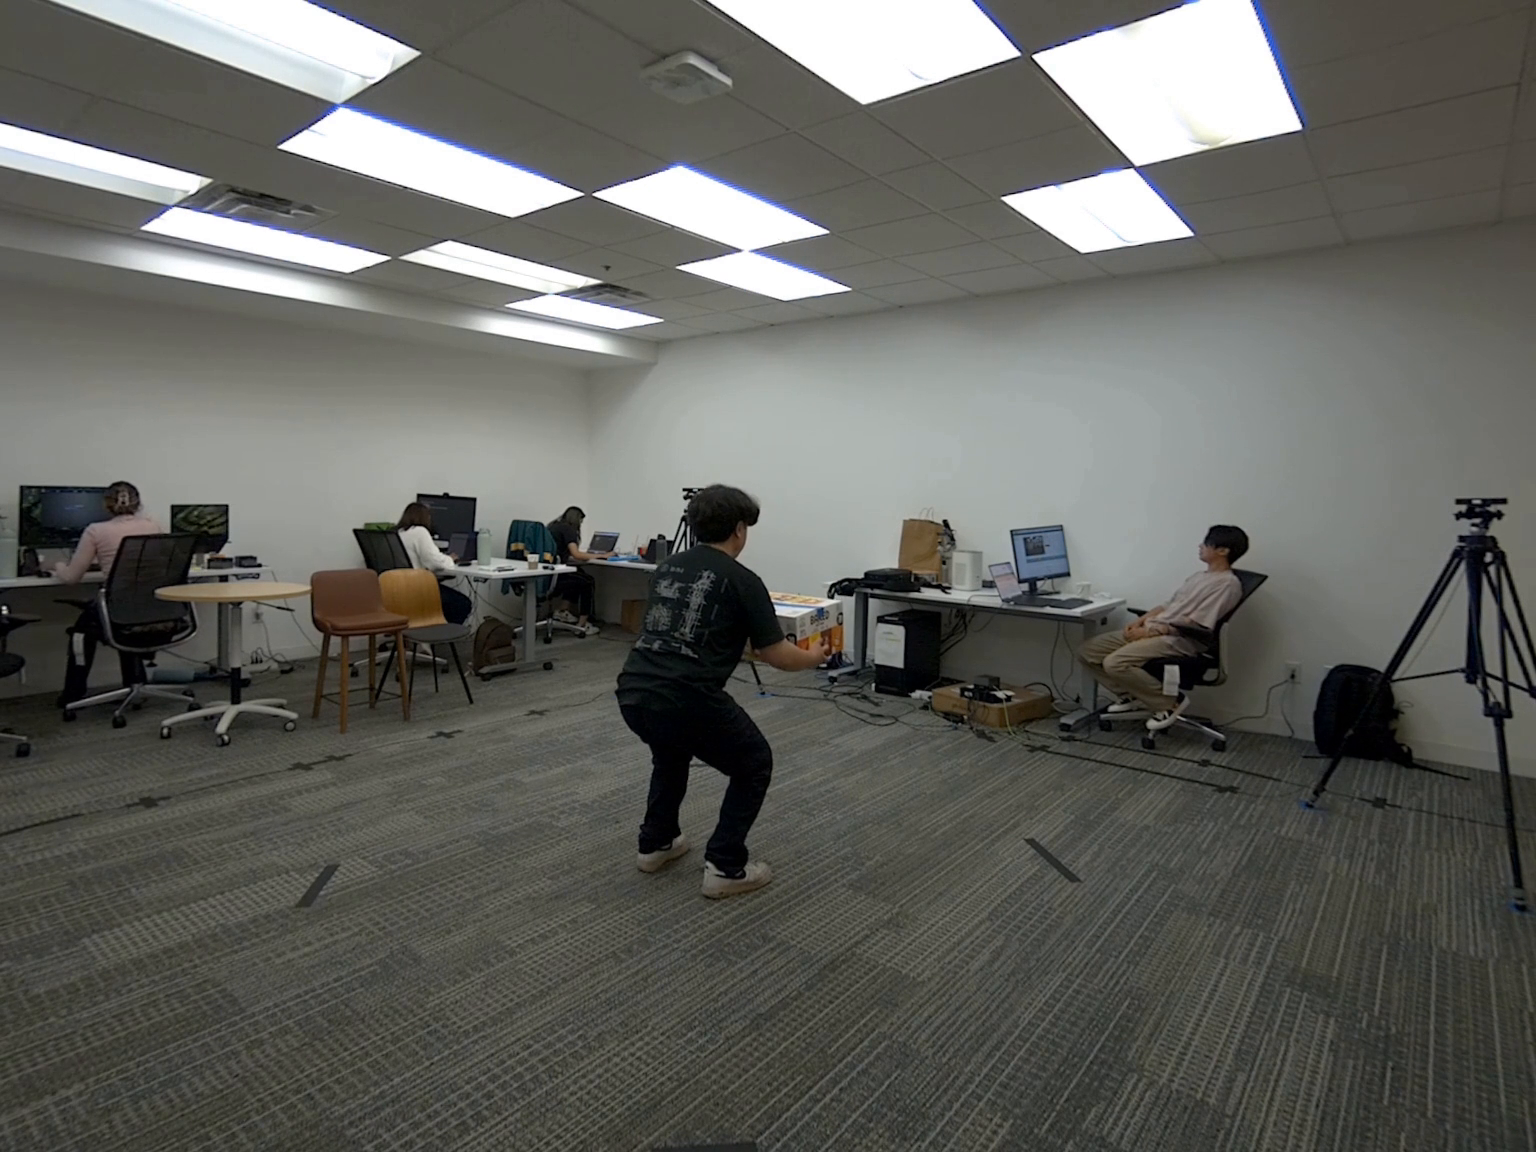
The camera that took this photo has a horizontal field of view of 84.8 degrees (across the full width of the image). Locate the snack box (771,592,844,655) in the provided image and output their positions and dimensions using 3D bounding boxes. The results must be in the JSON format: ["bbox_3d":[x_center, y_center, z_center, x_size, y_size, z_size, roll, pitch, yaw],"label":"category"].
[{"bbox_3d":[0.027,0.202,3.397,0.419,0.204,0.332,5,11,37],"label":"snack box"}]
